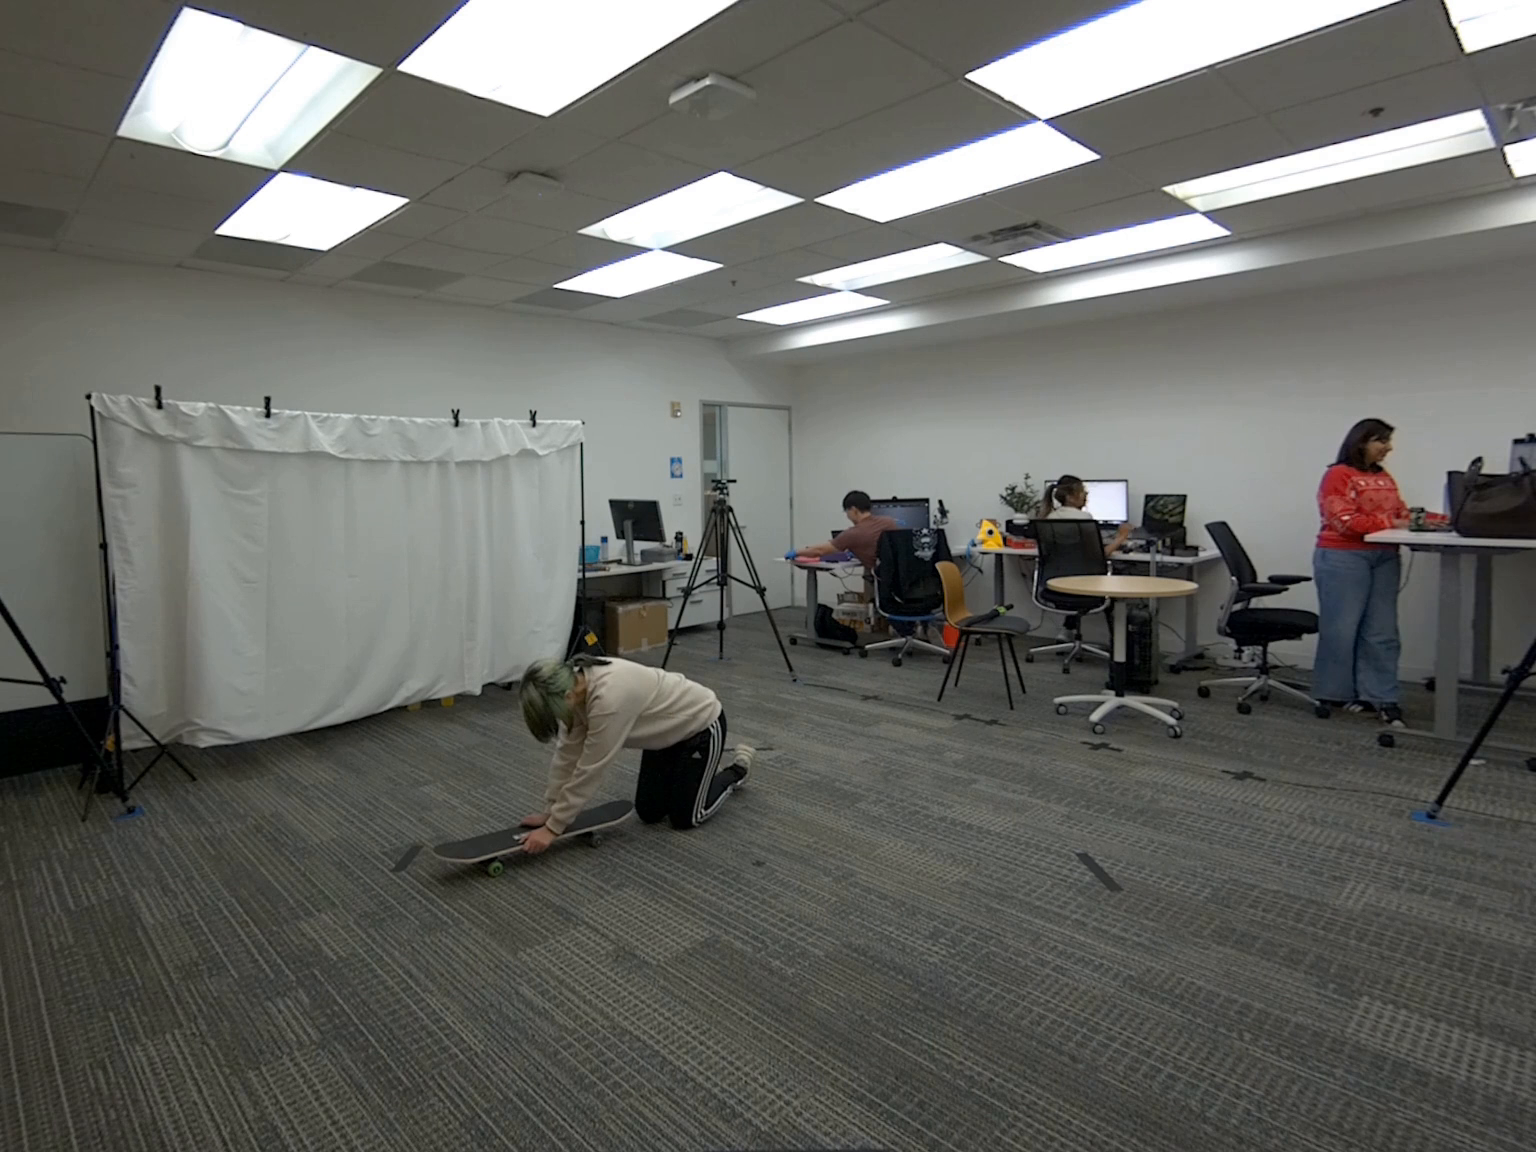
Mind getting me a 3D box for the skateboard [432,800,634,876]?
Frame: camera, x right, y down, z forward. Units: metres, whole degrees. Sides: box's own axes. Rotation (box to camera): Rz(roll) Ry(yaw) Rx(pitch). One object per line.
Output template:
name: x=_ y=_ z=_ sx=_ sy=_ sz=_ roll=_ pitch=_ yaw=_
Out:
skateboard: x=-0.868 y=0.999 z=3.229 sx=0.766 sy=0.110 sz=0.199 roll=-5 pitch=6 yaw=-34
